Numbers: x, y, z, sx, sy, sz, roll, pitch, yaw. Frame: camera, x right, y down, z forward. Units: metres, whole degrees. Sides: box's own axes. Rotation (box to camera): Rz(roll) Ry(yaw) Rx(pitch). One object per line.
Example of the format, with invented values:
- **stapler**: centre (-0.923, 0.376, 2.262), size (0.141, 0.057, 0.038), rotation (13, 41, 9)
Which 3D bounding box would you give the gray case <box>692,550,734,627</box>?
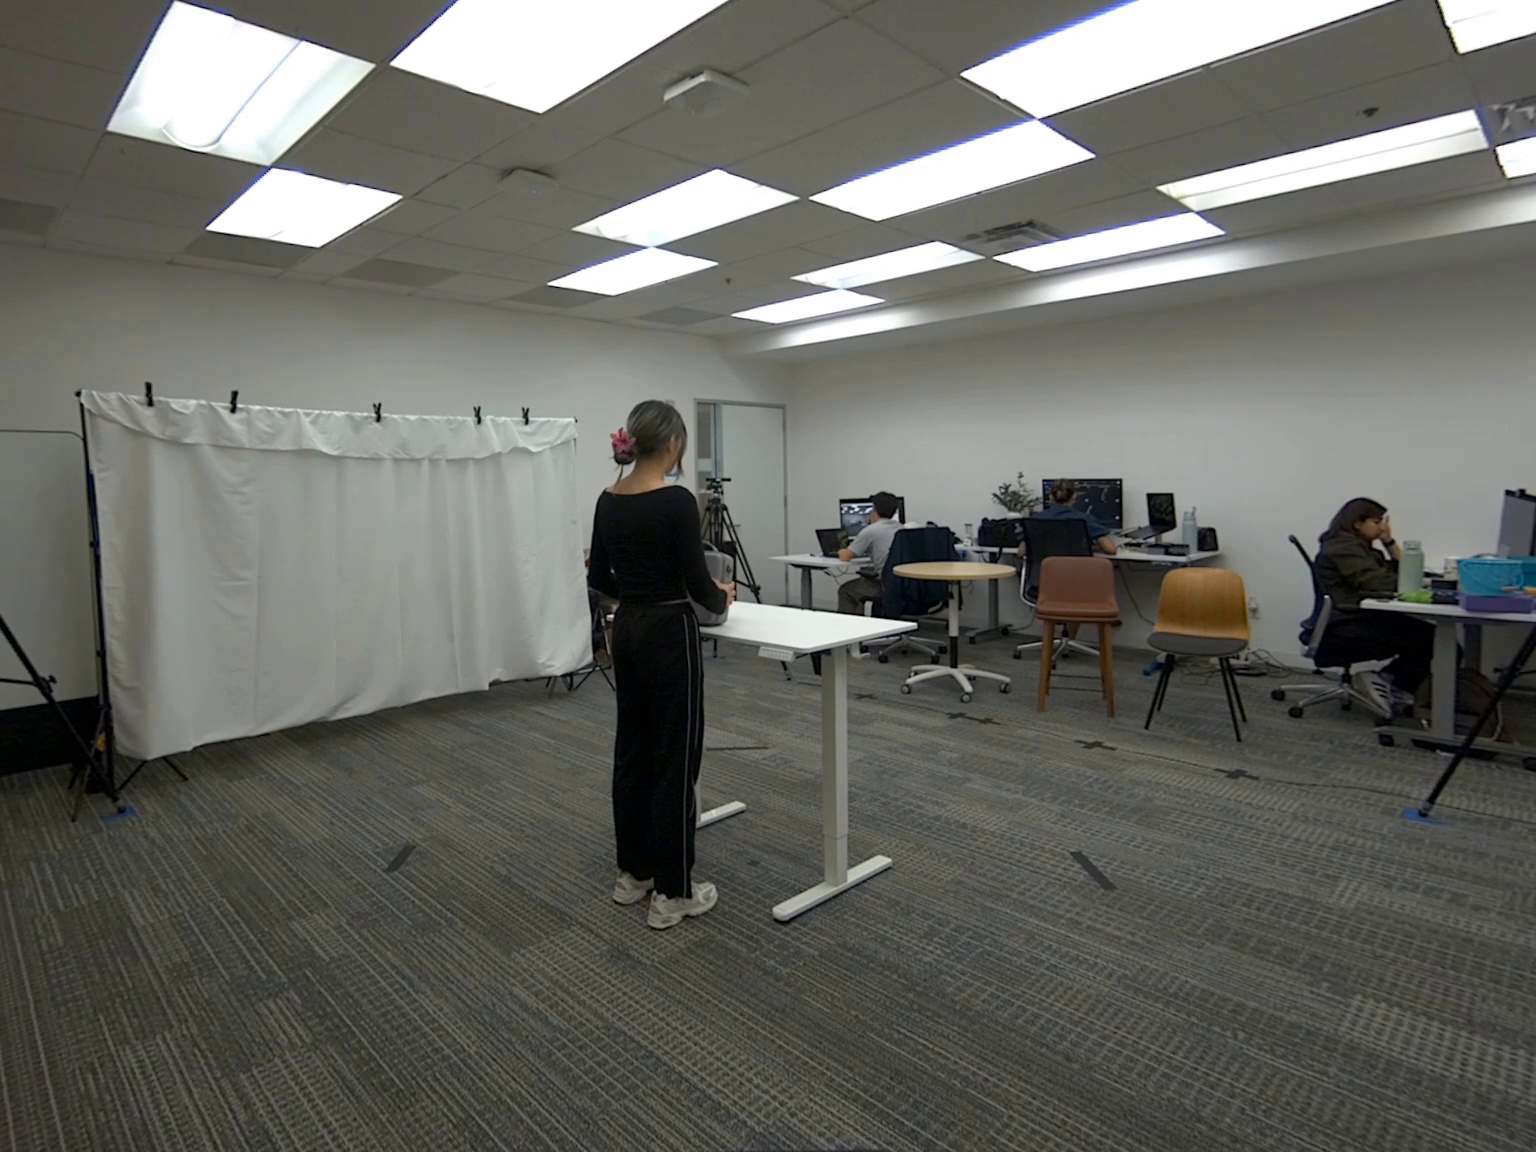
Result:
- **gray case**: centre (-0.249, 0.038, 3.054), size (0.264, 0.262, 0.101), rotation (3, -7, 37)
